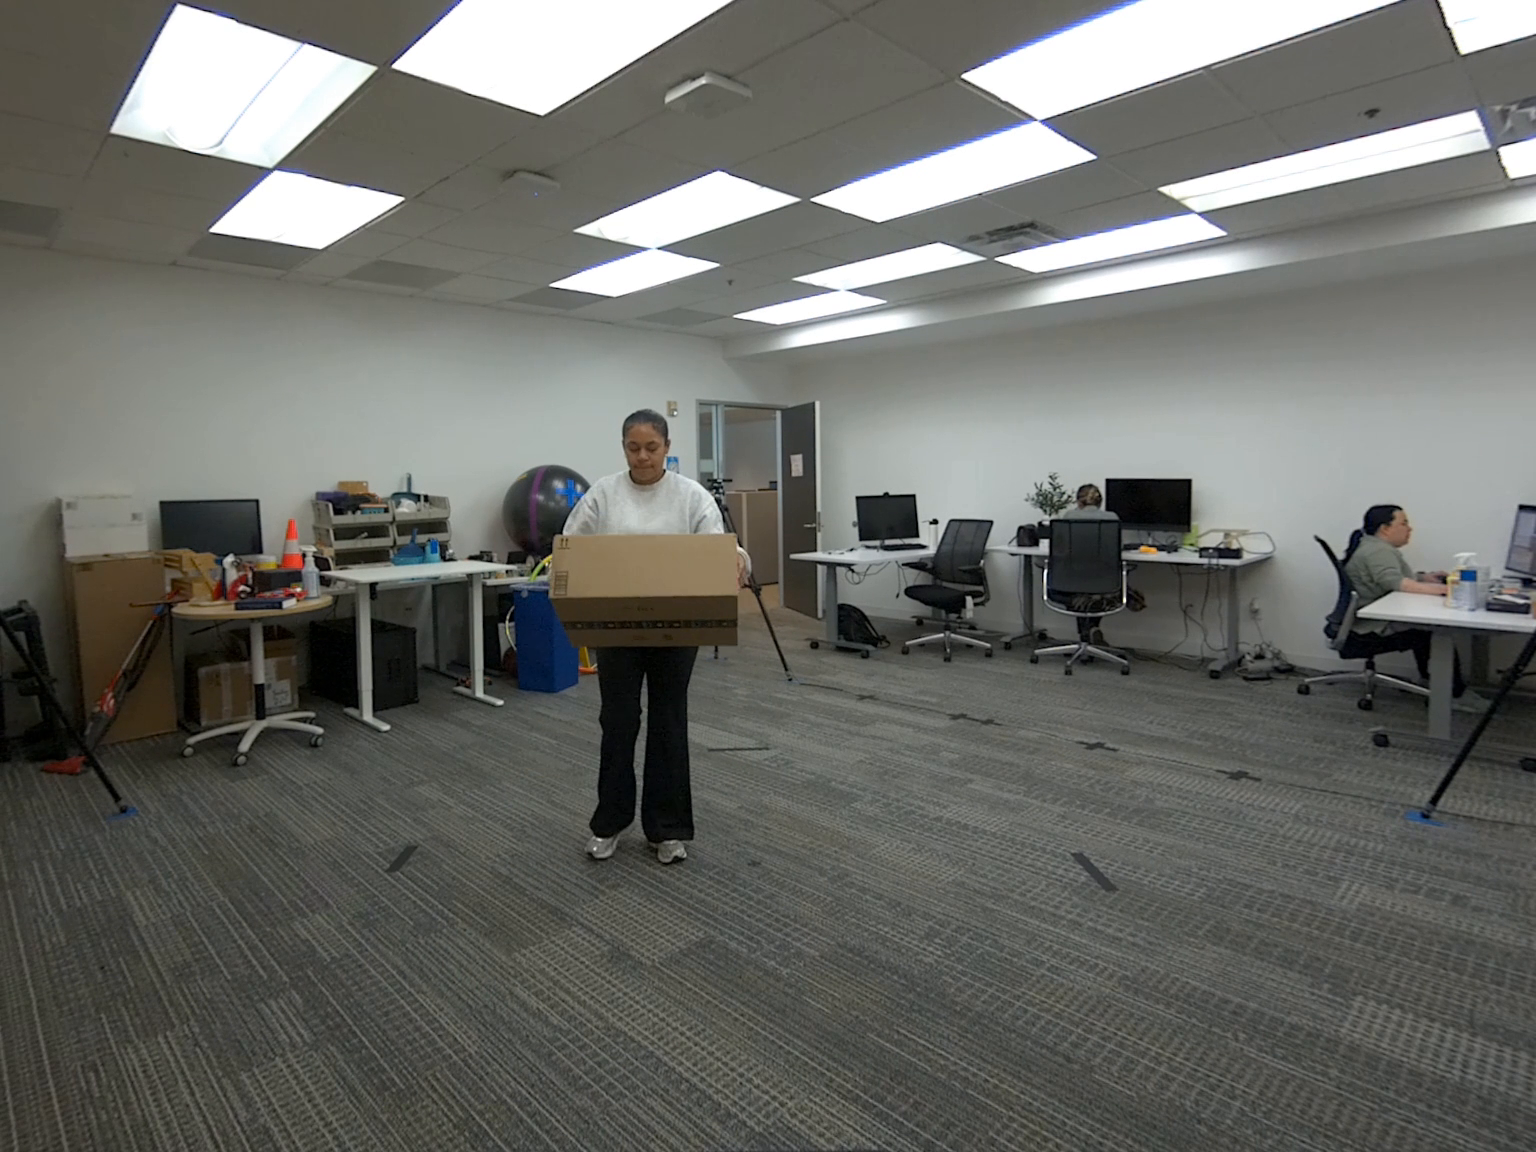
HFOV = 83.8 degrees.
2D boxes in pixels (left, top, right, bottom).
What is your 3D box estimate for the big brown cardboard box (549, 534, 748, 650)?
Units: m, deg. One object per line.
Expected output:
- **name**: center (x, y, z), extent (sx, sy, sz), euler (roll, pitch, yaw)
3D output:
- **big brown cardboard box**: center (-0.390, 0.064, 2.766), extent (0.589, 0.238, 0.408), euler (1, -27, 0)
